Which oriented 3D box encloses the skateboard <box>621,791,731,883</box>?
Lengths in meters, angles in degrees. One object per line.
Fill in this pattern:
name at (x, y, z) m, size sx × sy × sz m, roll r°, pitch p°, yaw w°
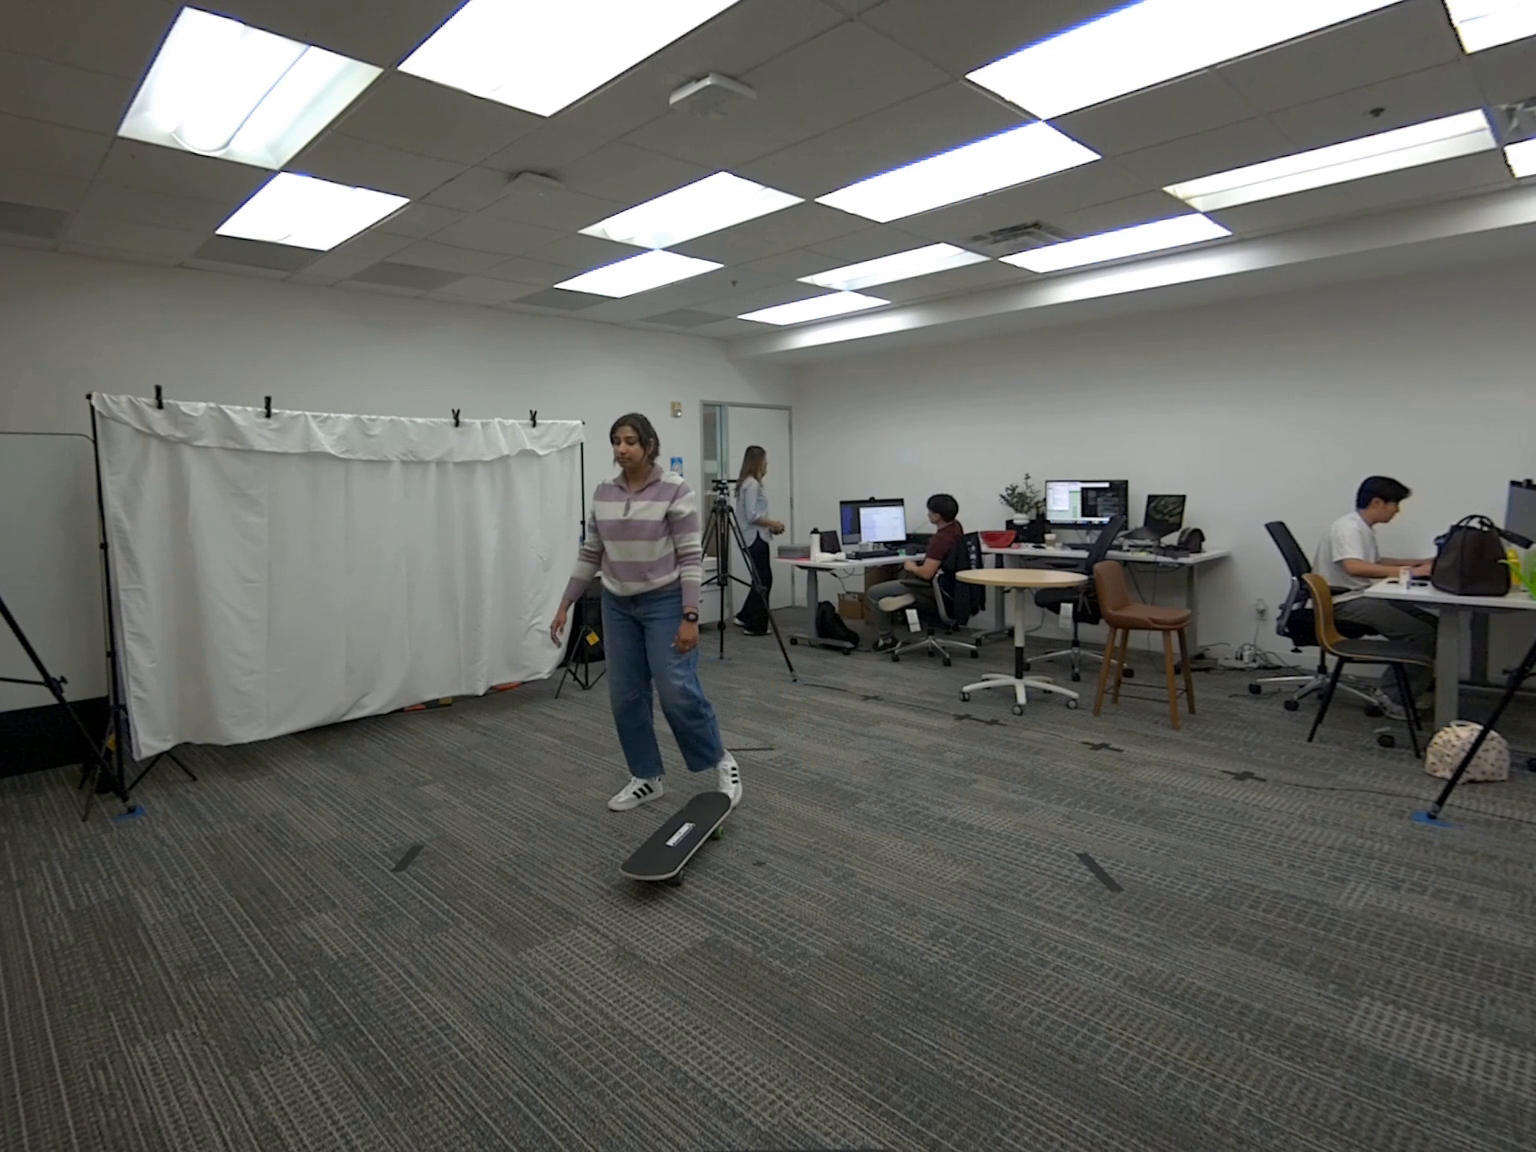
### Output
skateboard at (-0.322, 0.988, 3.168) m, size 0.197 × 0.110 × 0.776 m, roll 2°, pitch 7°, yaw 16°
